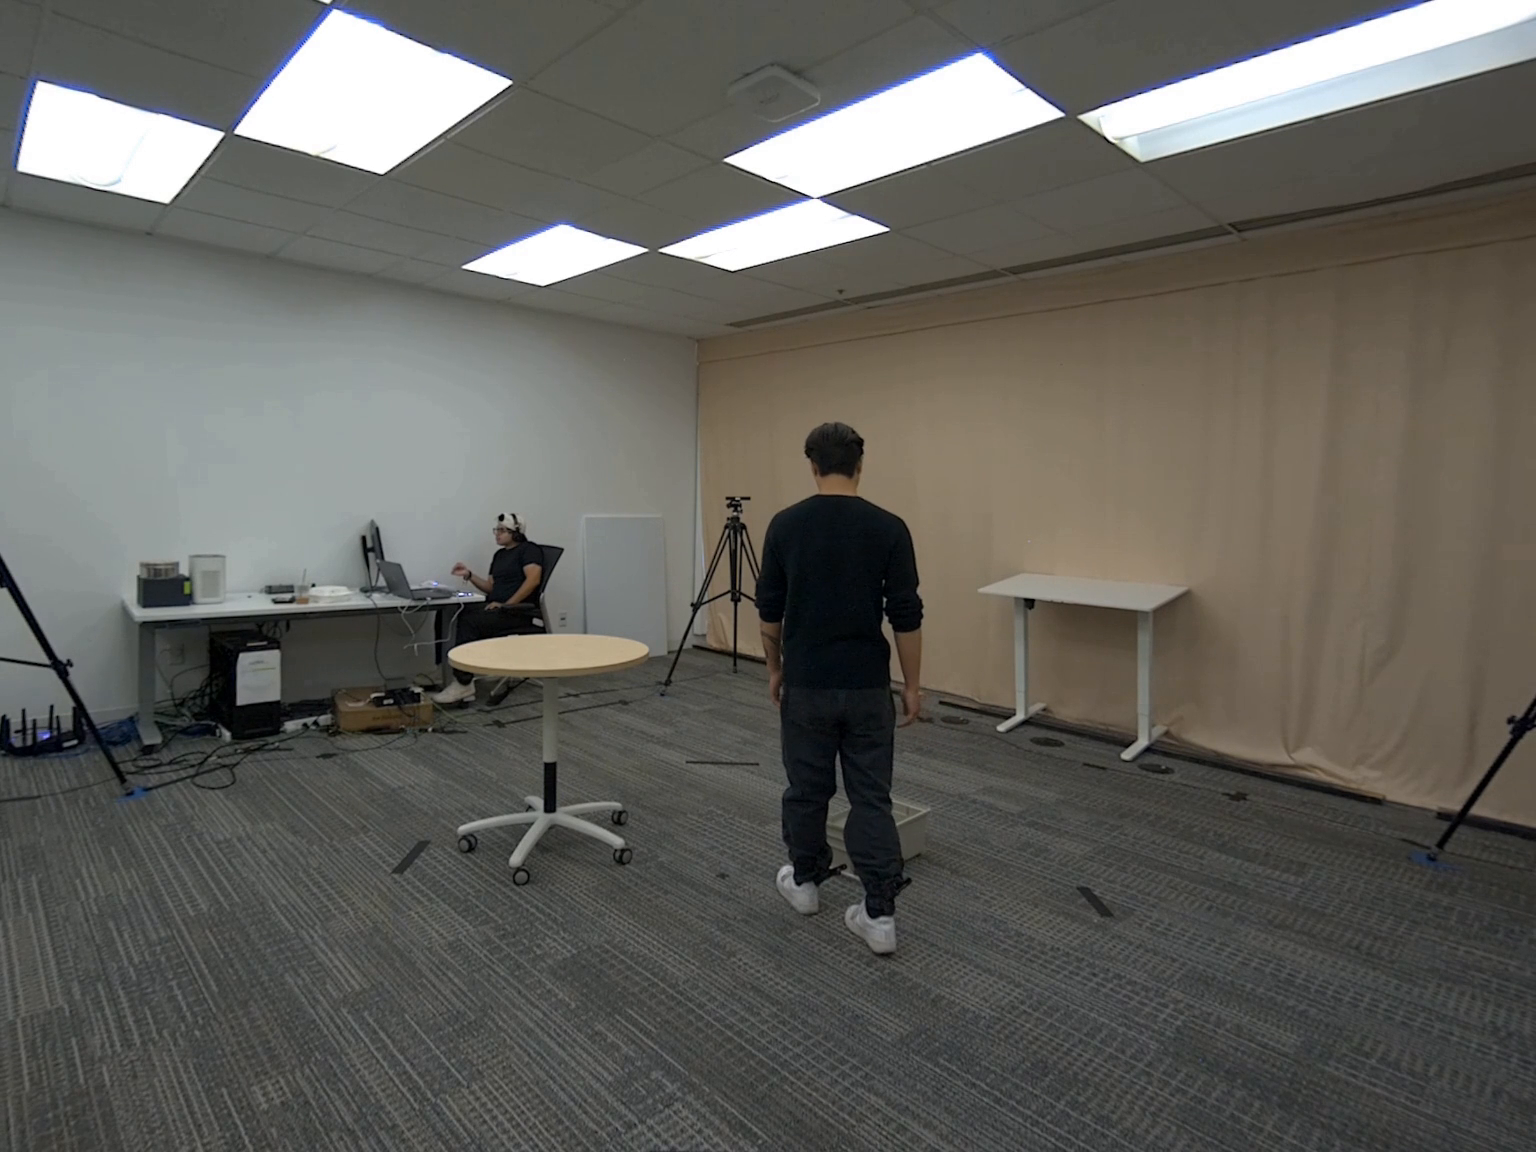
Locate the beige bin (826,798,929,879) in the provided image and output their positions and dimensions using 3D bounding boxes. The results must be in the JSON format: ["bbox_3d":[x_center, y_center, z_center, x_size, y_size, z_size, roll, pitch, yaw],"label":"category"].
[{"bbox_3d":[0.363,1.009,3.320,0.387,0.188,0.413,5,6,41],"label":"beige bin"}]
